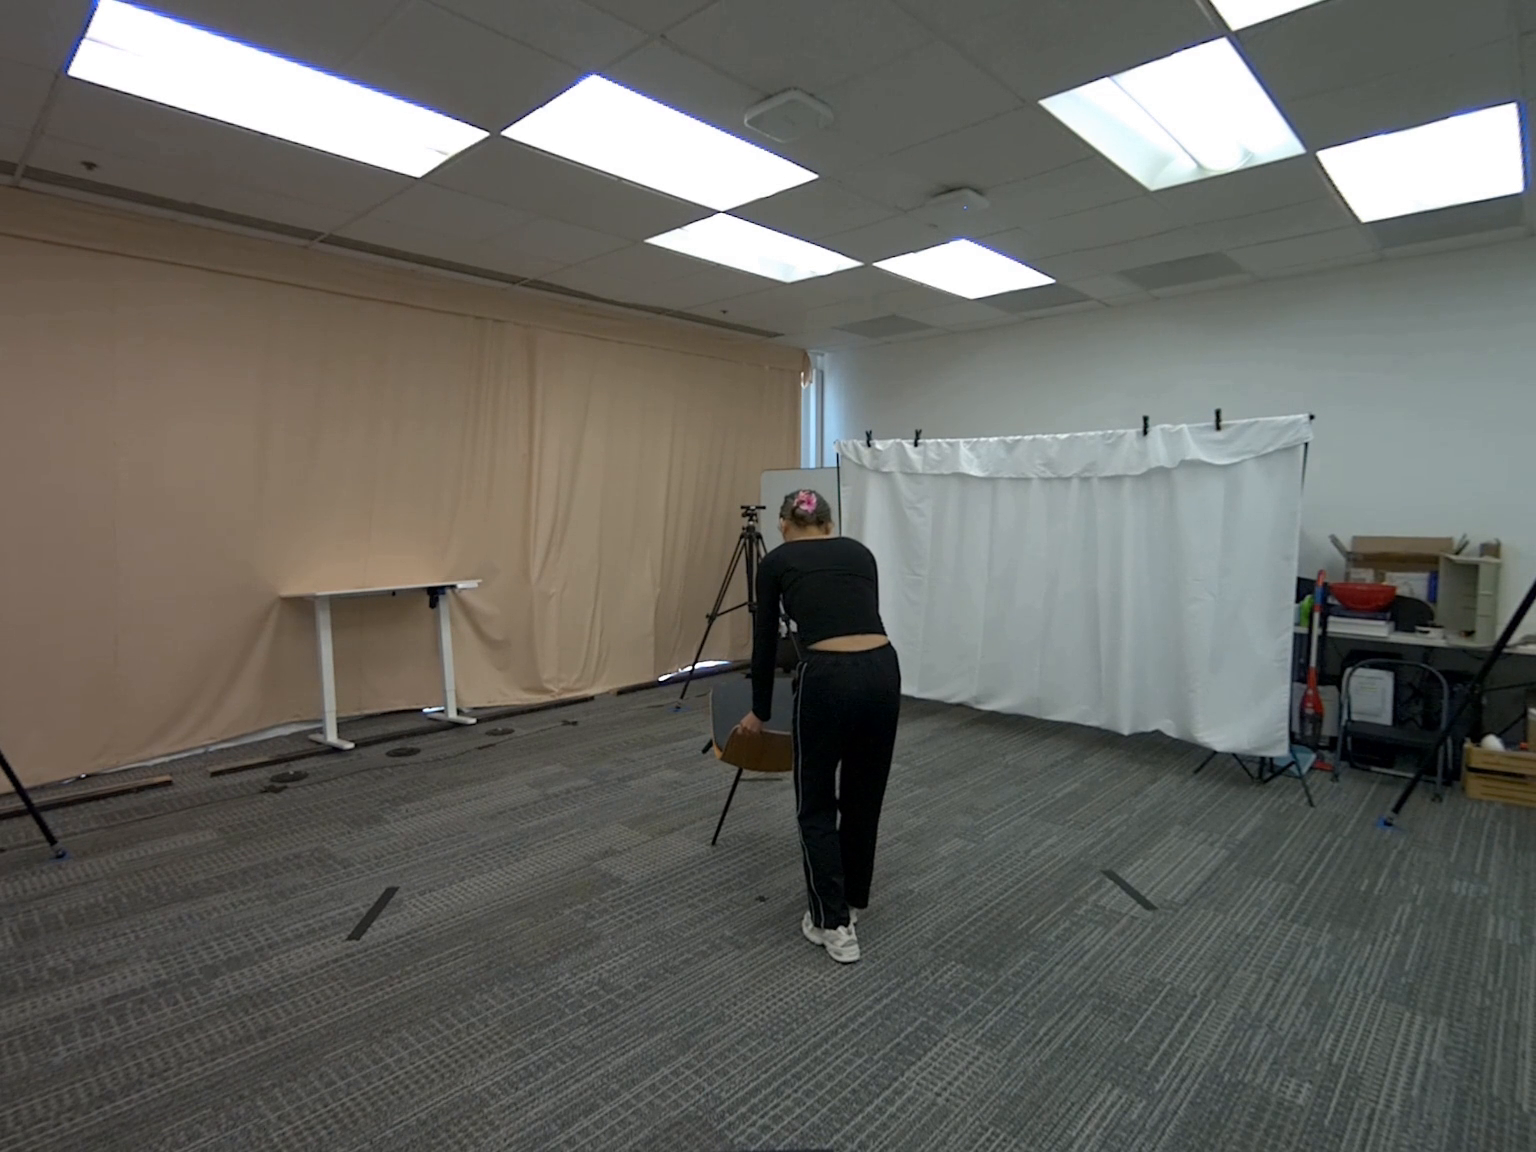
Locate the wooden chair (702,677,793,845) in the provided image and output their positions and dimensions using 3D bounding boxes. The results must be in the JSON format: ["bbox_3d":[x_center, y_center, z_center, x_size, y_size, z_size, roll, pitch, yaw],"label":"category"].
[{"bbox_3d":[0.006,0.629,3.367,0.474,0.535,0.865,0,-42,-9],"label":"wooden chair"}]
